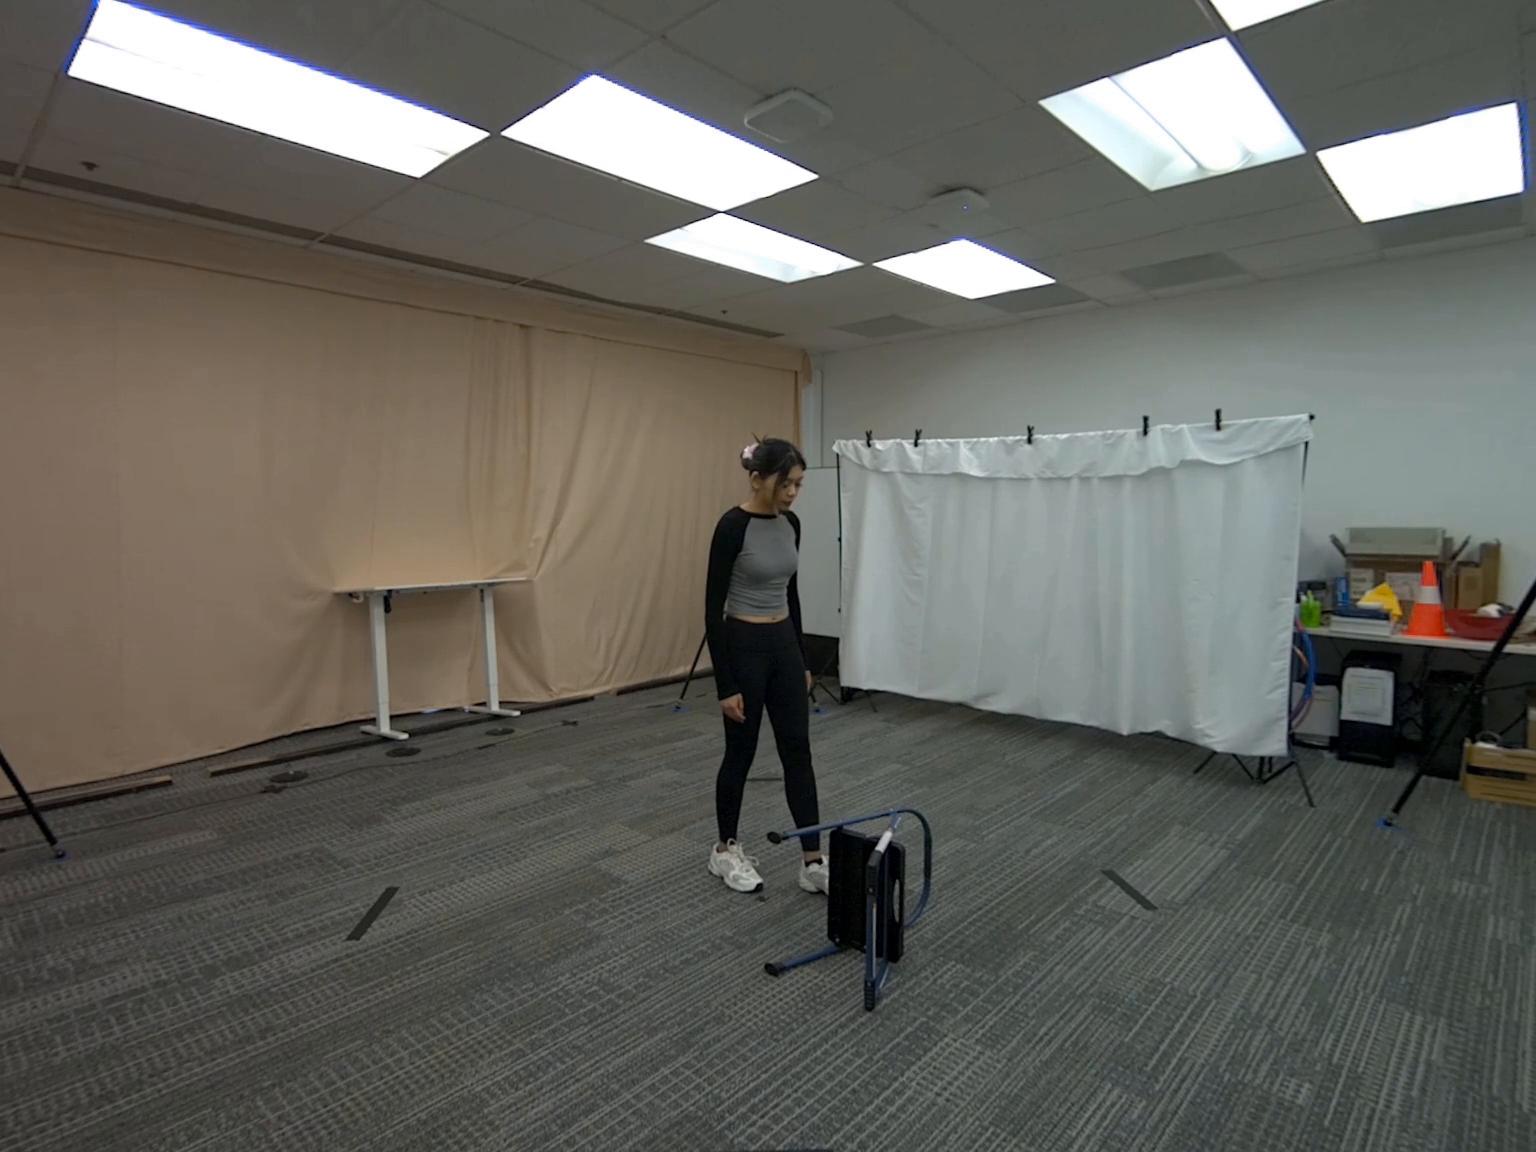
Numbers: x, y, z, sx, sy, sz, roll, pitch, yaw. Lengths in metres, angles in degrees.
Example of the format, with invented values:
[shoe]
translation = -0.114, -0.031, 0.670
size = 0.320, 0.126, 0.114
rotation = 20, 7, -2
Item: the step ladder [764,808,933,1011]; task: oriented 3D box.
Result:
[step ladder]
translation = 0.315, 0.968, 2.622
size = 0.360, 0.430, 0.588
rotation = 4, 5, 36
